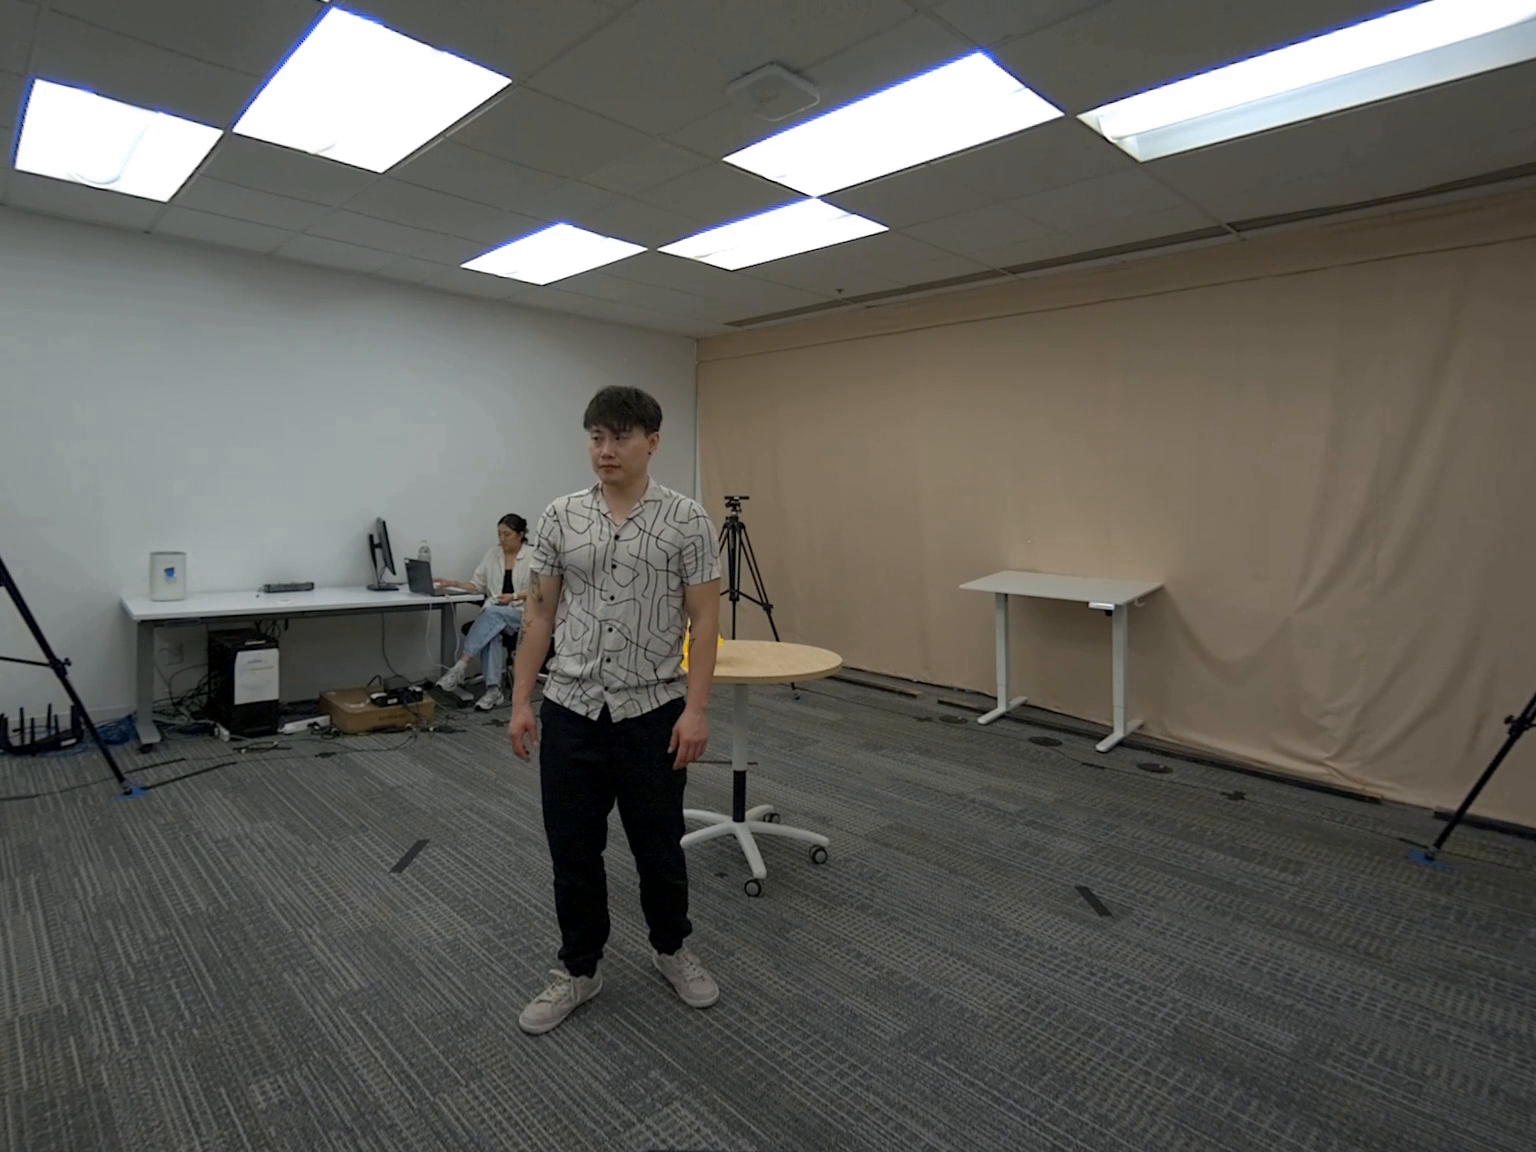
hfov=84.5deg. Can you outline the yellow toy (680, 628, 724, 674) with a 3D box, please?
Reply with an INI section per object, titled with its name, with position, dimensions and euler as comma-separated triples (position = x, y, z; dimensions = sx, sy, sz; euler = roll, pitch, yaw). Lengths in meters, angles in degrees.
[yellow toy]
position = -0.264, 0.209, 3.095
dimensions = 0.192, 0.230, 0.206
euler = 1, 4, -4
